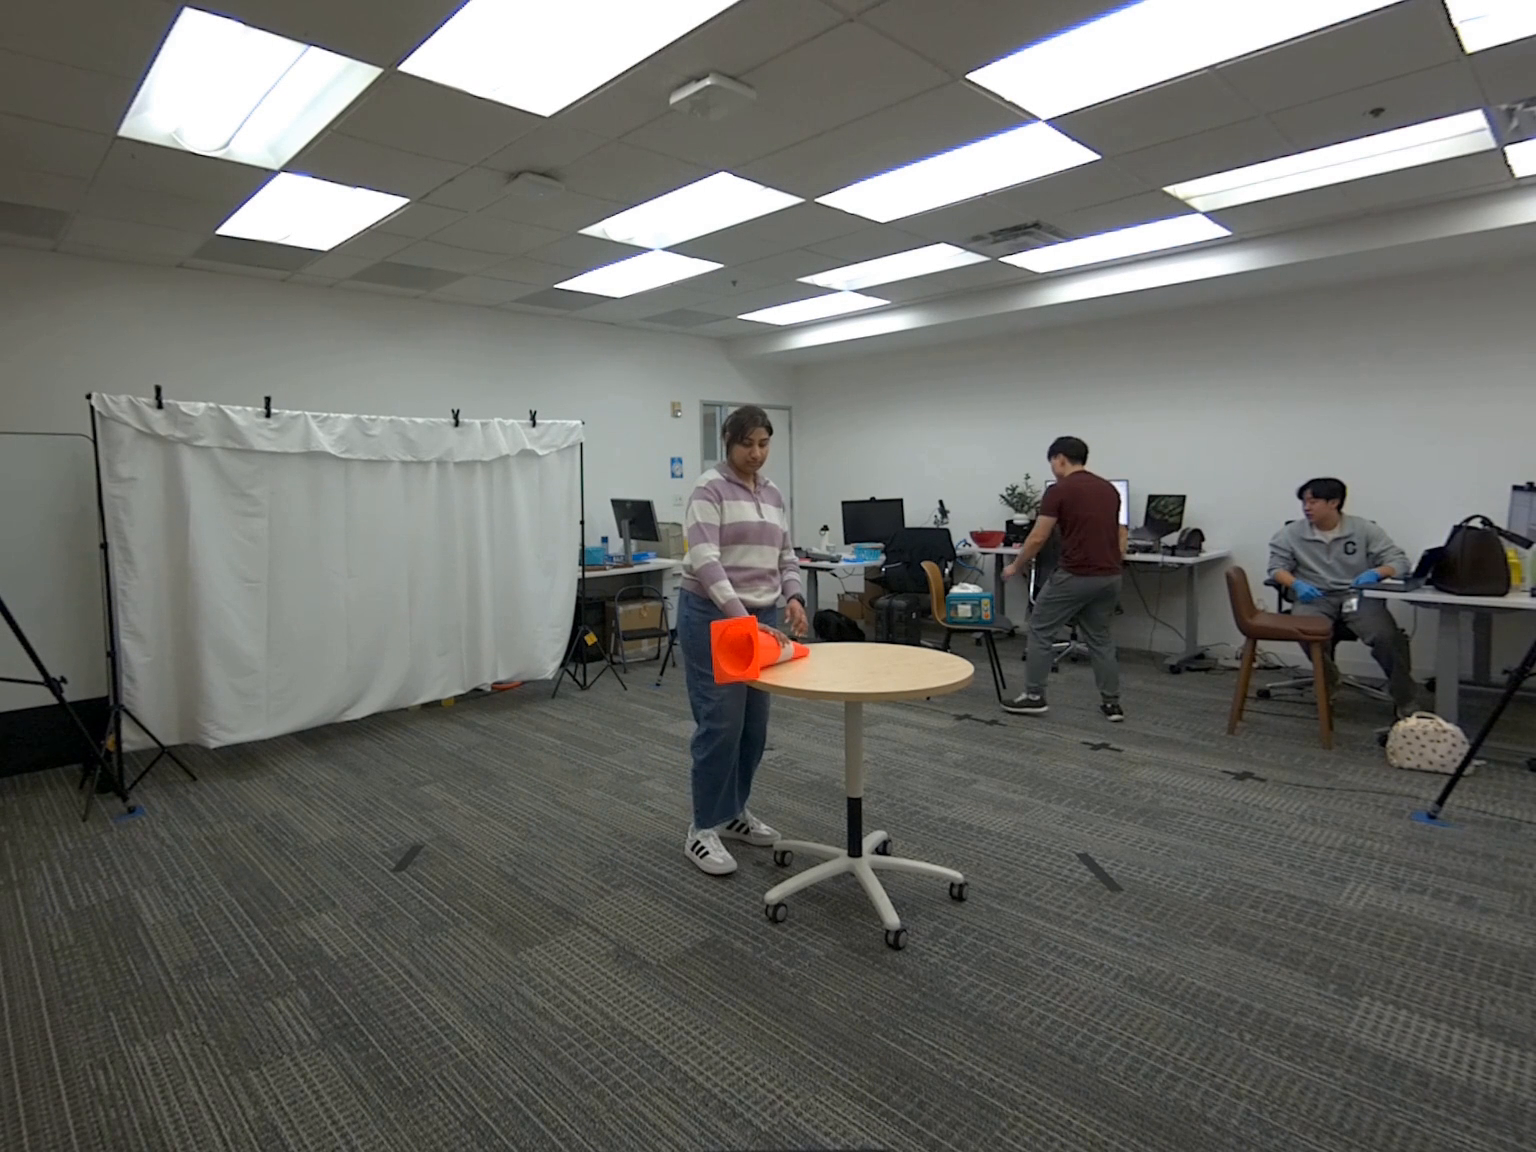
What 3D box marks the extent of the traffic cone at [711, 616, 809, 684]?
[{"bbox_3d":[0.023,0.247,2.828,0.210,0.205,0.371,-10,-11,39],"label":"traffic cone"}]
